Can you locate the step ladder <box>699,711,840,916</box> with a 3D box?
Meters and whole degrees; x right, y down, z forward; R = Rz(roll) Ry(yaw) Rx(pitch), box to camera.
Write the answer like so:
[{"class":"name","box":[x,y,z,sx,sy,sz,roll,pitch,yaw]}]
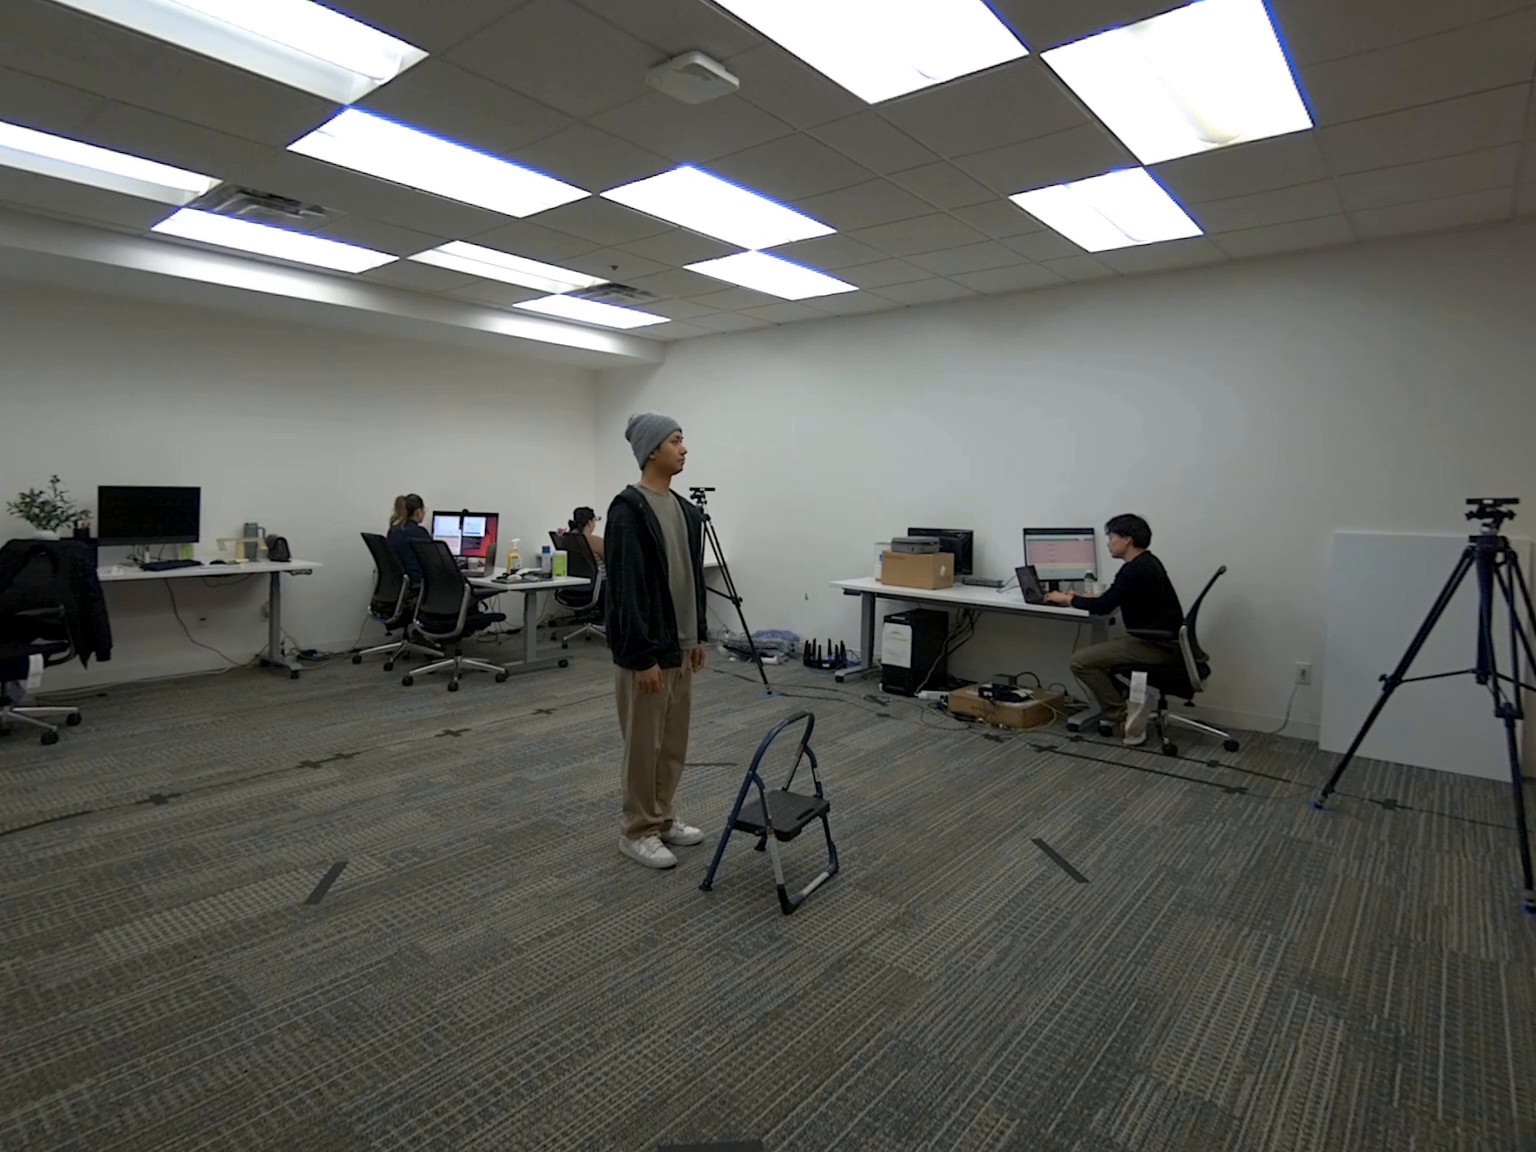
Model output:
[{"class":"step ladder","box":[0.014,0.778,3.017,0.359,0.604,0.420,3,4,29]}]
